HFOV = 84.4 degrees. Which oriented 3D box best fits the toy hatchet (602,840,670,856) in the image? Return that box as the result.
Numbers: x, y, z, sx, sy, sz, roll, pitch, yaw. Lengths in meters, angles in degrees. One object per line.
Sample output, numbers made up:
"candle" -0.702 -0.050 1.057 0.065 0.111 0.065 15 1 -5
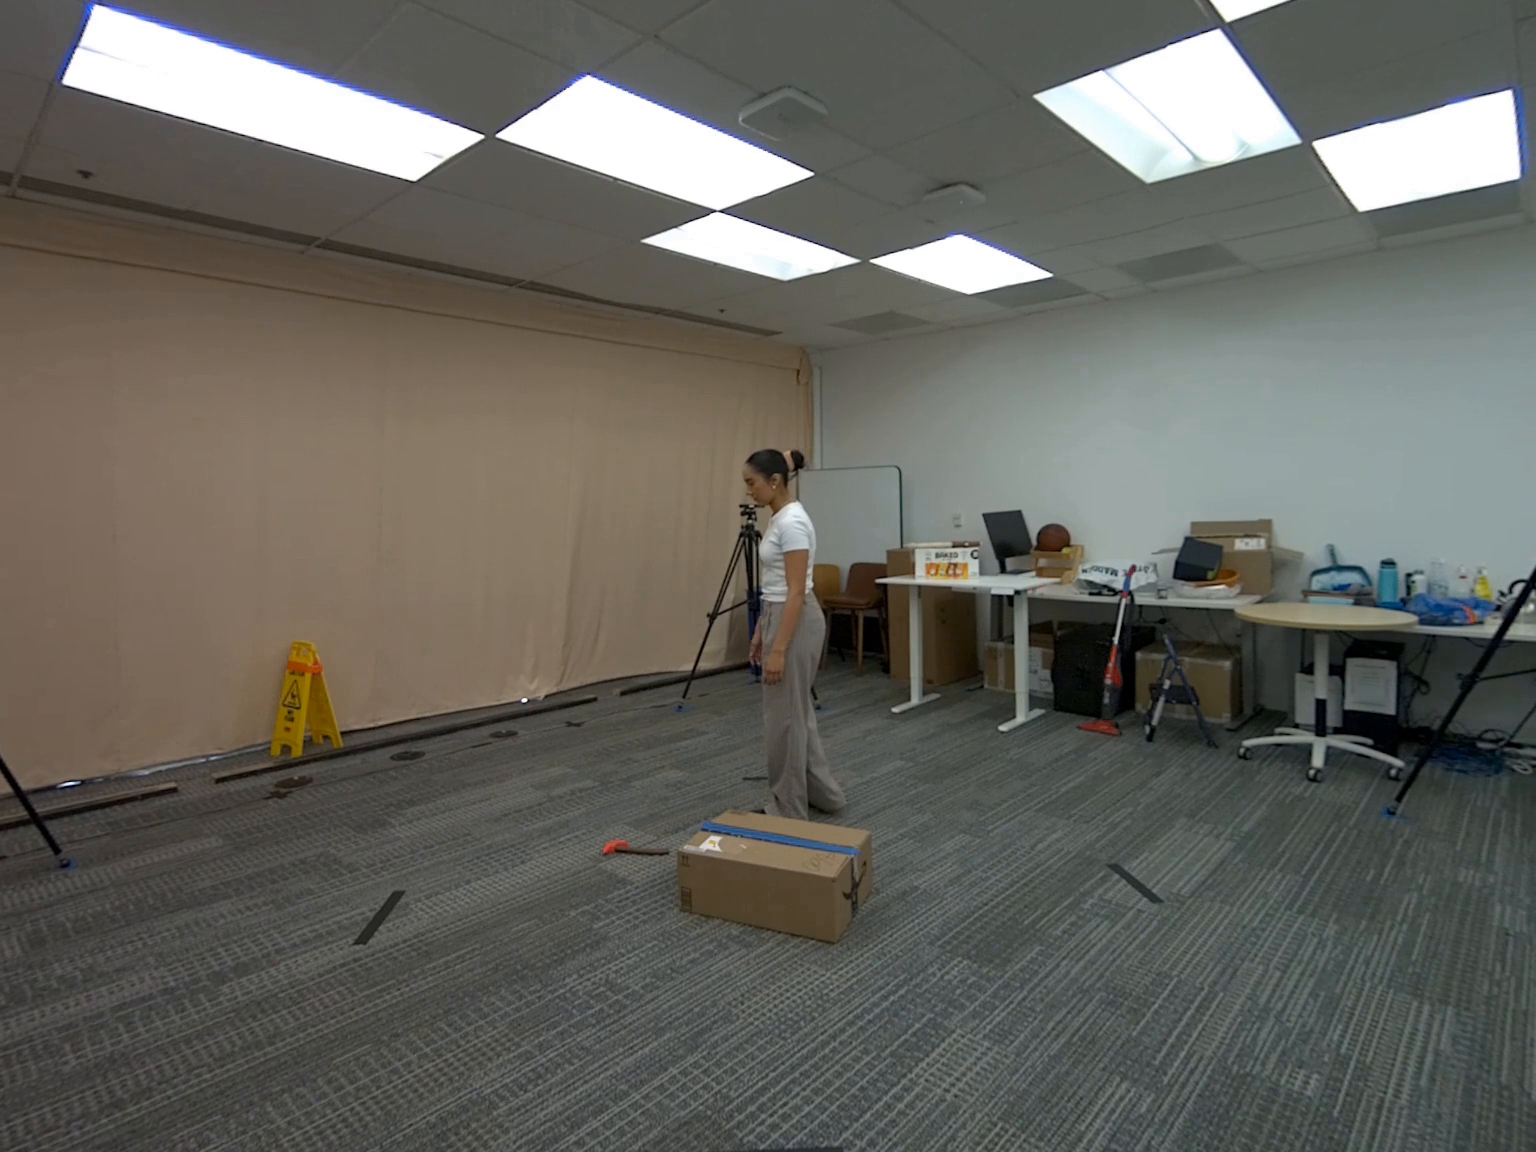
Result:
"toy hatchet" -0.533 1.103 3.427 0.270 0.029 0.131 1 2 0
